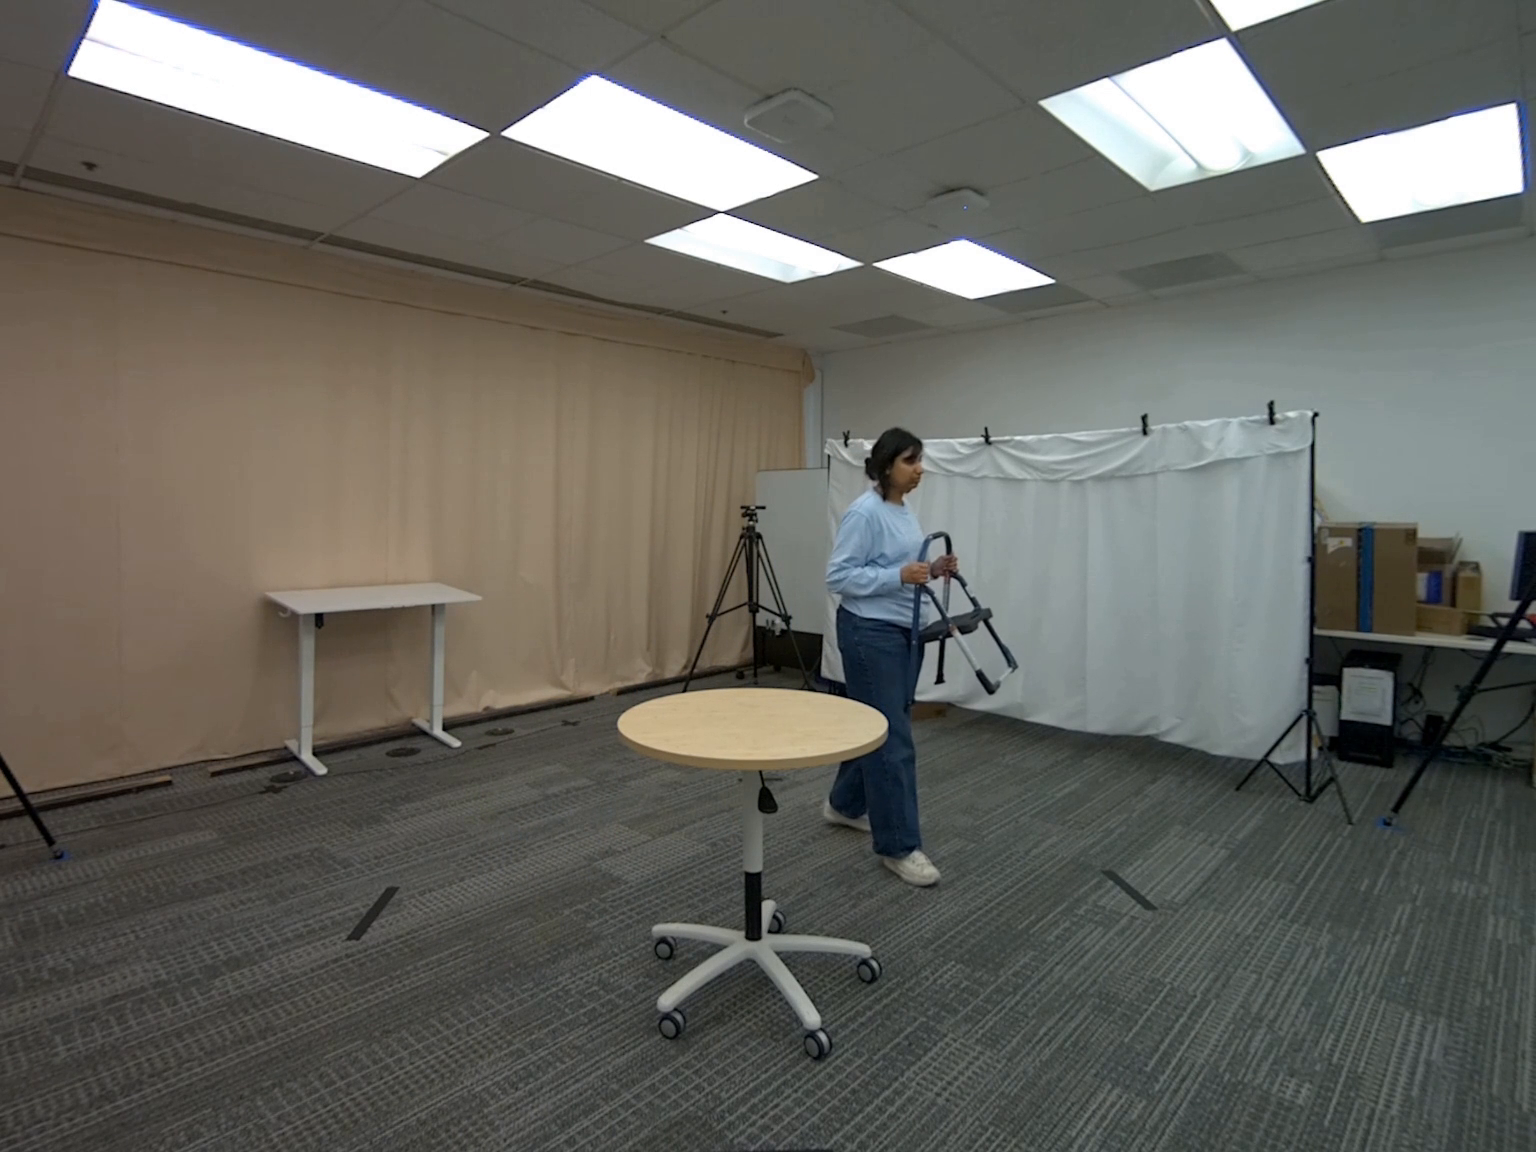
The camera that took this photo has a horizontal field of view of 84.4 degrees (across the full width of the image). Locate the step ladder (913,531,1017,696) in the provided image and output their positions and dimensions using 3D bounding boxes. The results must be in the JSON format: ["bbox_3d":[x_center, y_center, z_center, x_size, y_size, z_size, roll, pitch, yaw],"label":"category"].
[{"bbox_3d":[0.680,0.145,3.264,0.357,0.607,0.420,-17,-2,29],"label":"step ladder"}]
